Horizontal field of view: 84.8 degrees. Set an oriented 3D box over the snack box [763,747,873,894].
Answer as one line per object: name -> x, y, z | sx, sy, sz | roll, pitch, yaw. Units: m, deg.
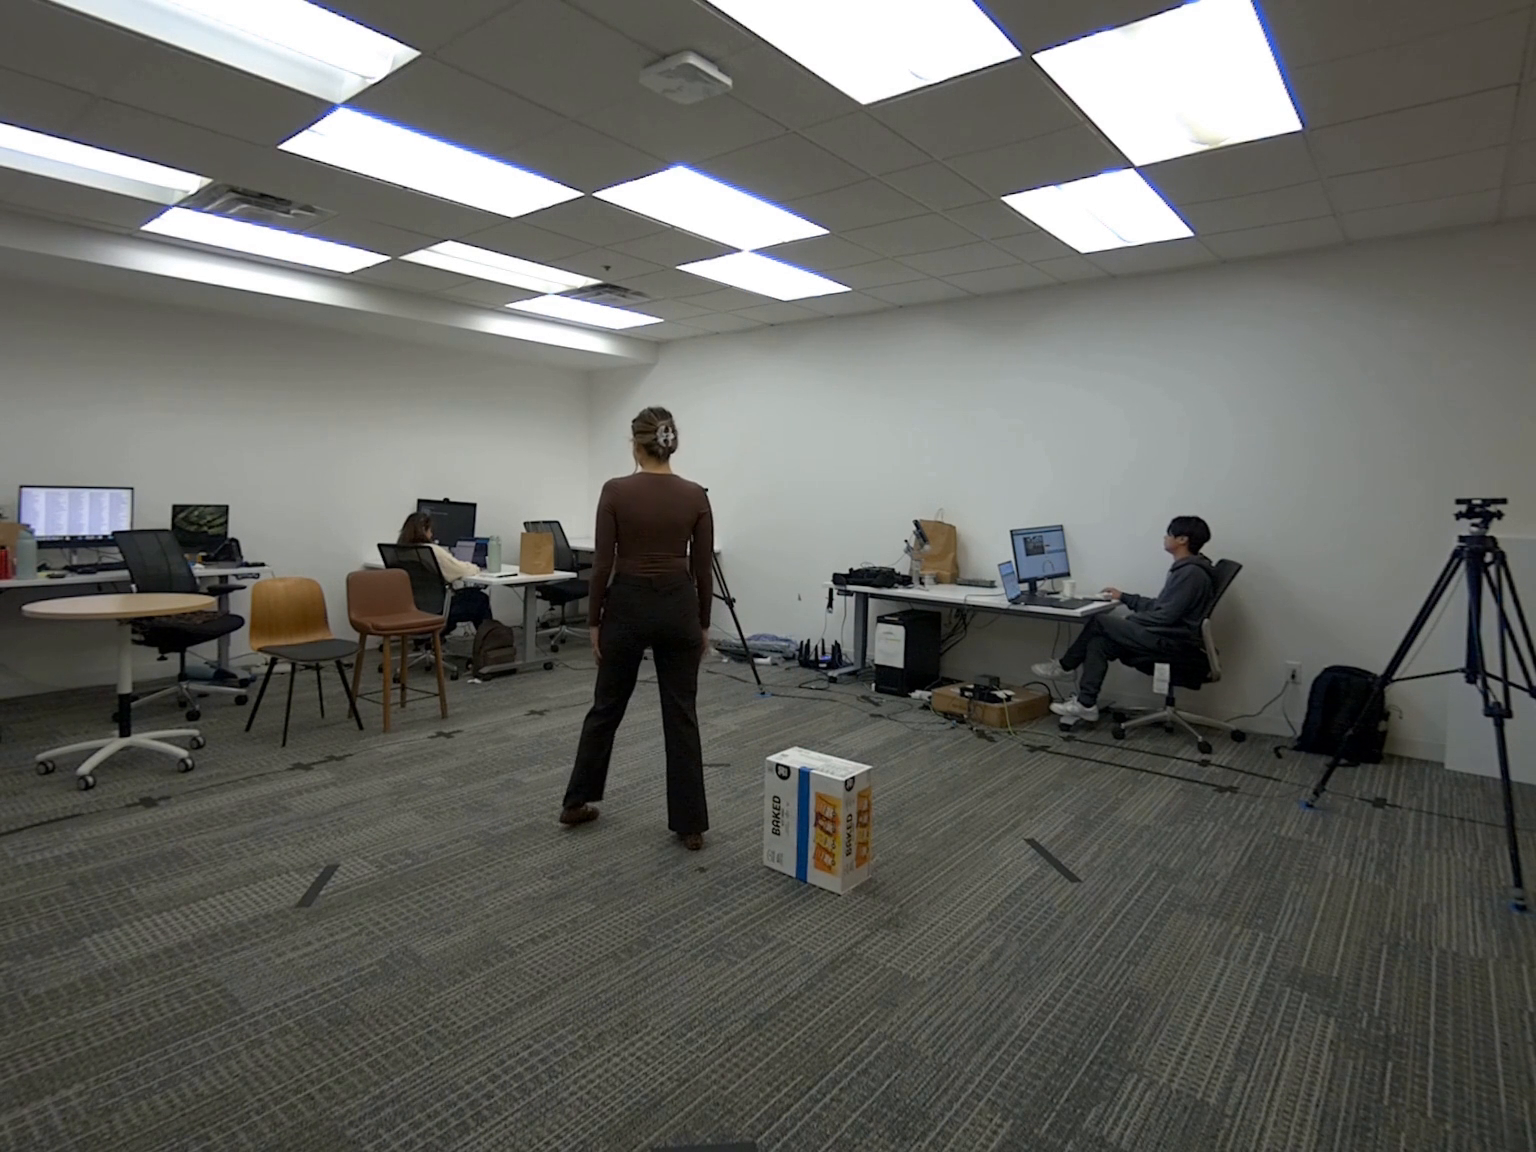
snack box -> 0.175, 0.875, 3.101 | 0.352, 0.404, 0.199 | 4, 4, 39
